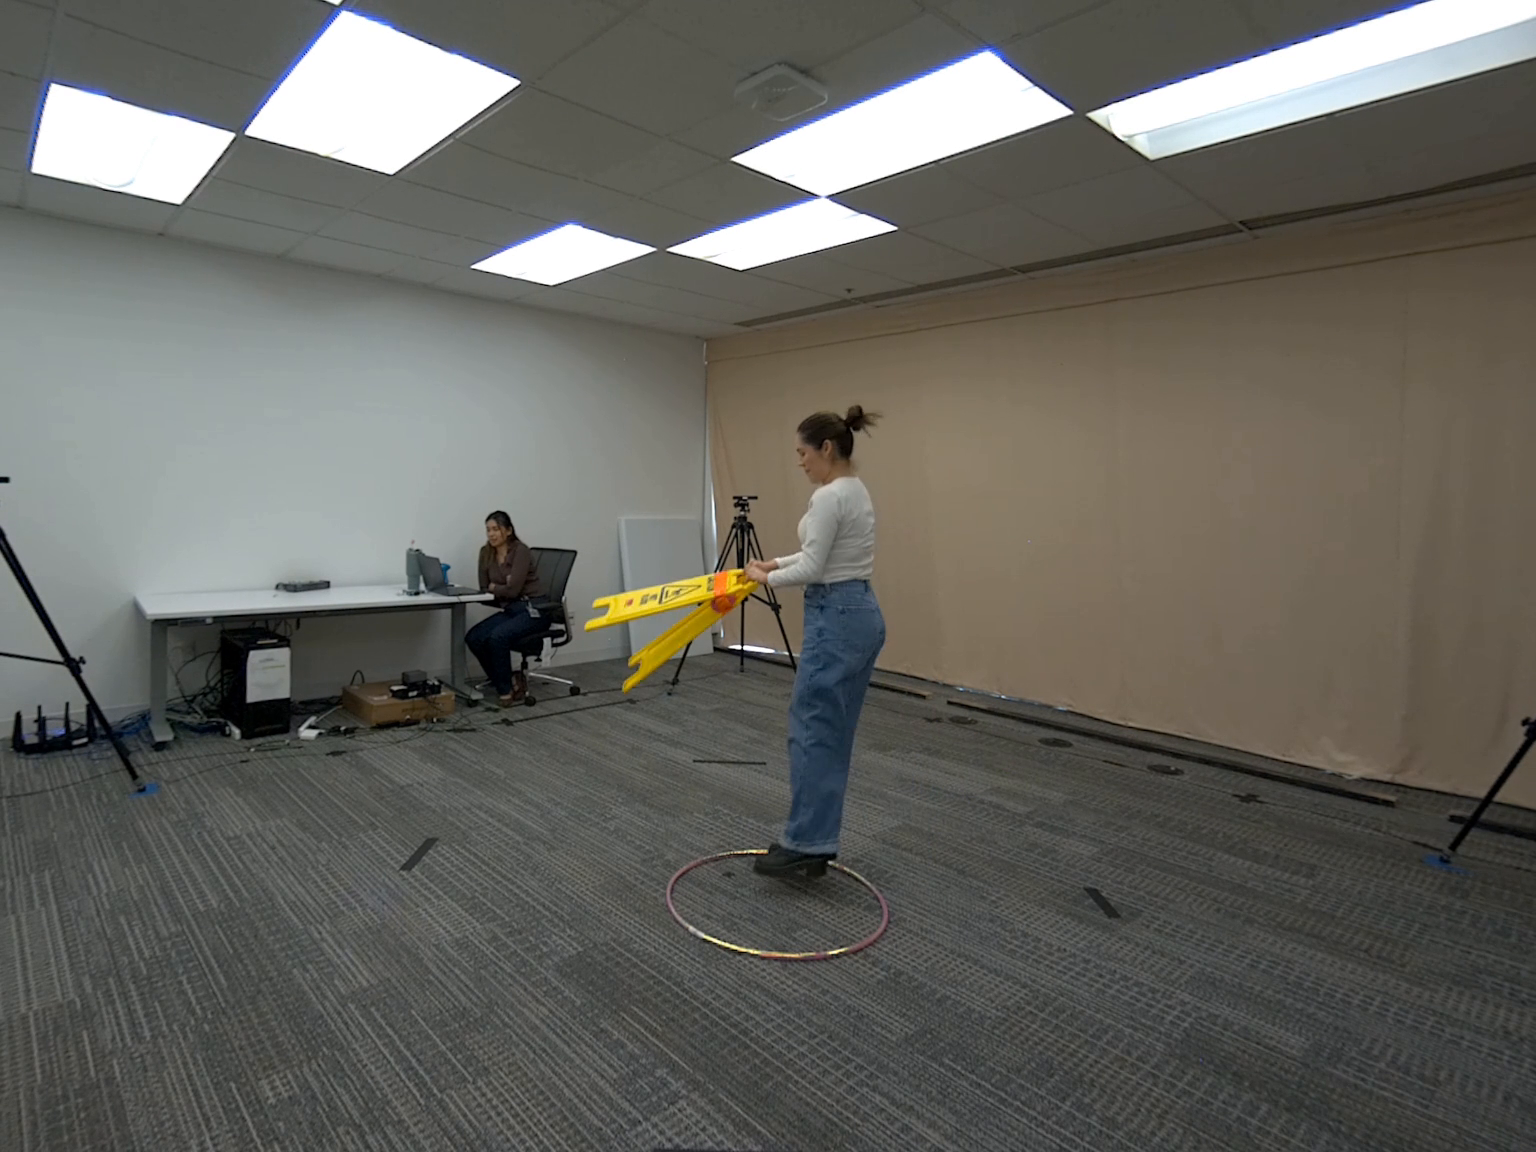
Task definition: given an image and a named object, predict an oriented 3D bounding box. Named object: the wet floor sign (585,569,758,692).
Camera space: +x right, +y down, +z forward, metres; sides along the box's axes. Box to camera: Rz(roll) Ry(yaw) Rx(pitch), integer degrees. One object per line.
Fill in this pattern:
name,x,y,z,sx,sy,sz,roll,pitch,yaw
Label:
wet floor sign,-0.299,0.164,3.194,0.648,0.285,0.286,-26,18,9
